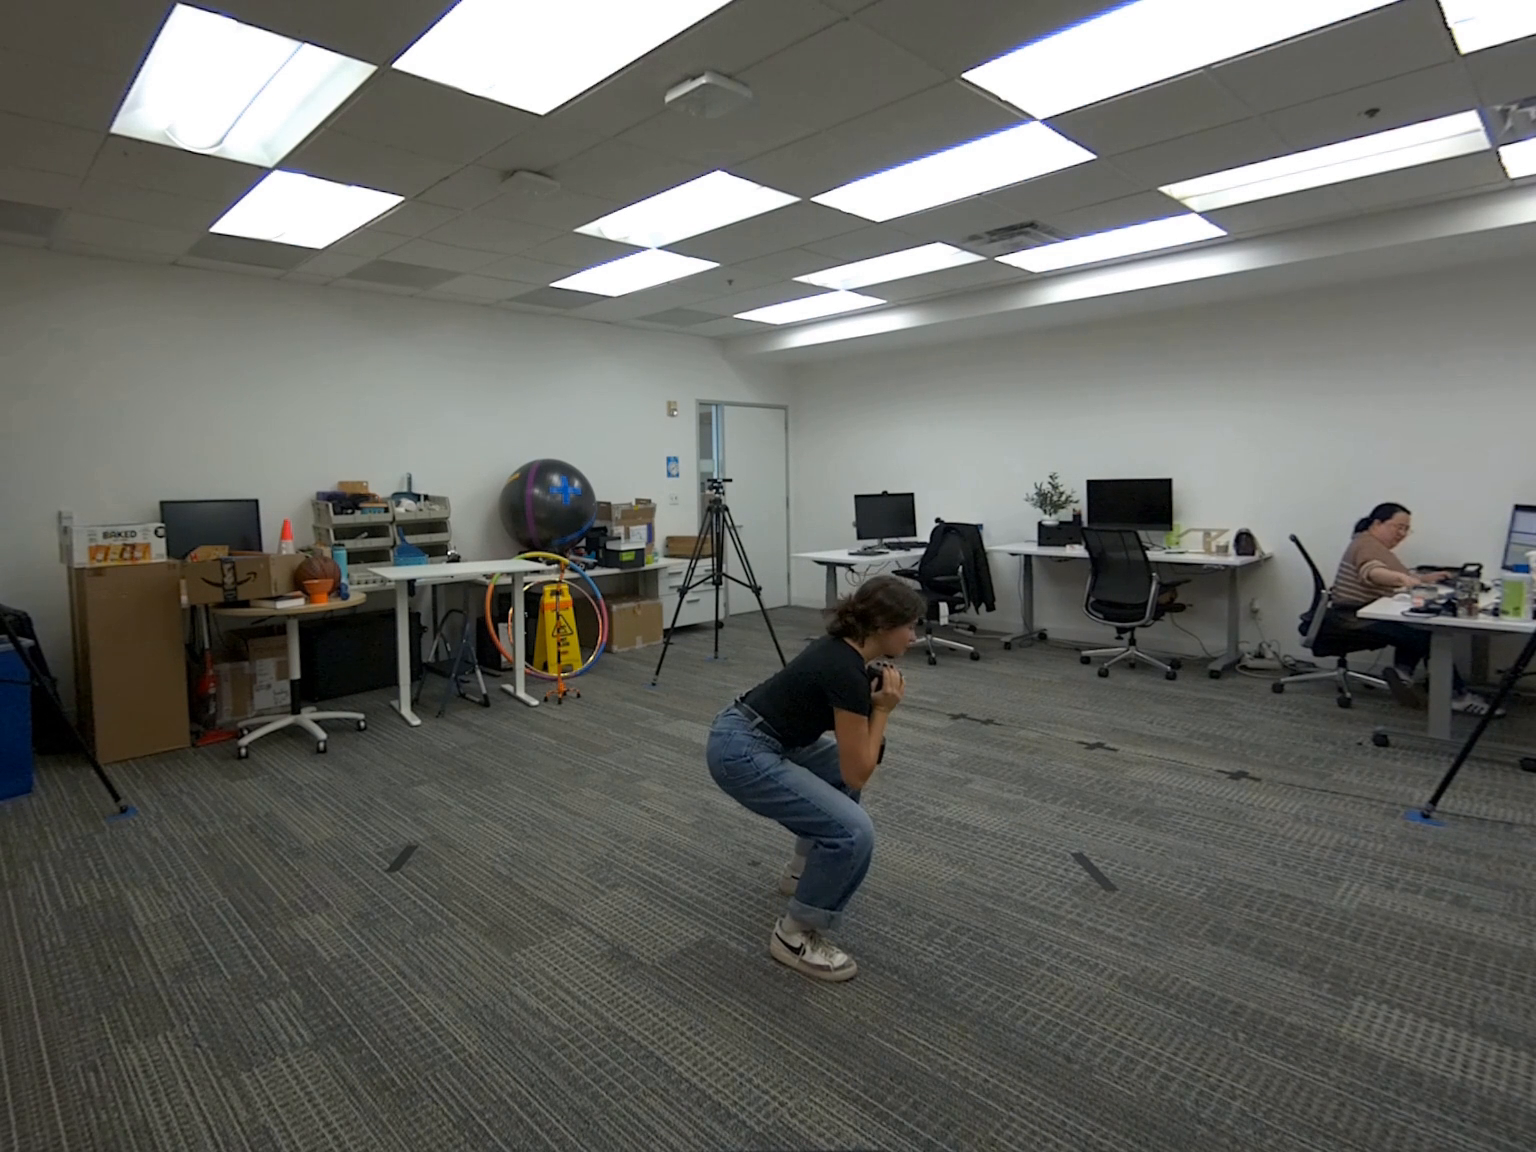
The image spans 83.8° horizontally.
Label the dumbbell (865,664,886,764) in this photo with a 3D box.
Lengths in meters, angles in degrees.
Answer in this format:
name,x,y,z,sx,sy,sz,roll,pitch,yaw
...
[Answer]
name,x,y,z,sx,sy,sz,roll,pitch,yaw
dumbbell,0.308,0.421,2.622,0.127,0.292,0.105,18,7,34
